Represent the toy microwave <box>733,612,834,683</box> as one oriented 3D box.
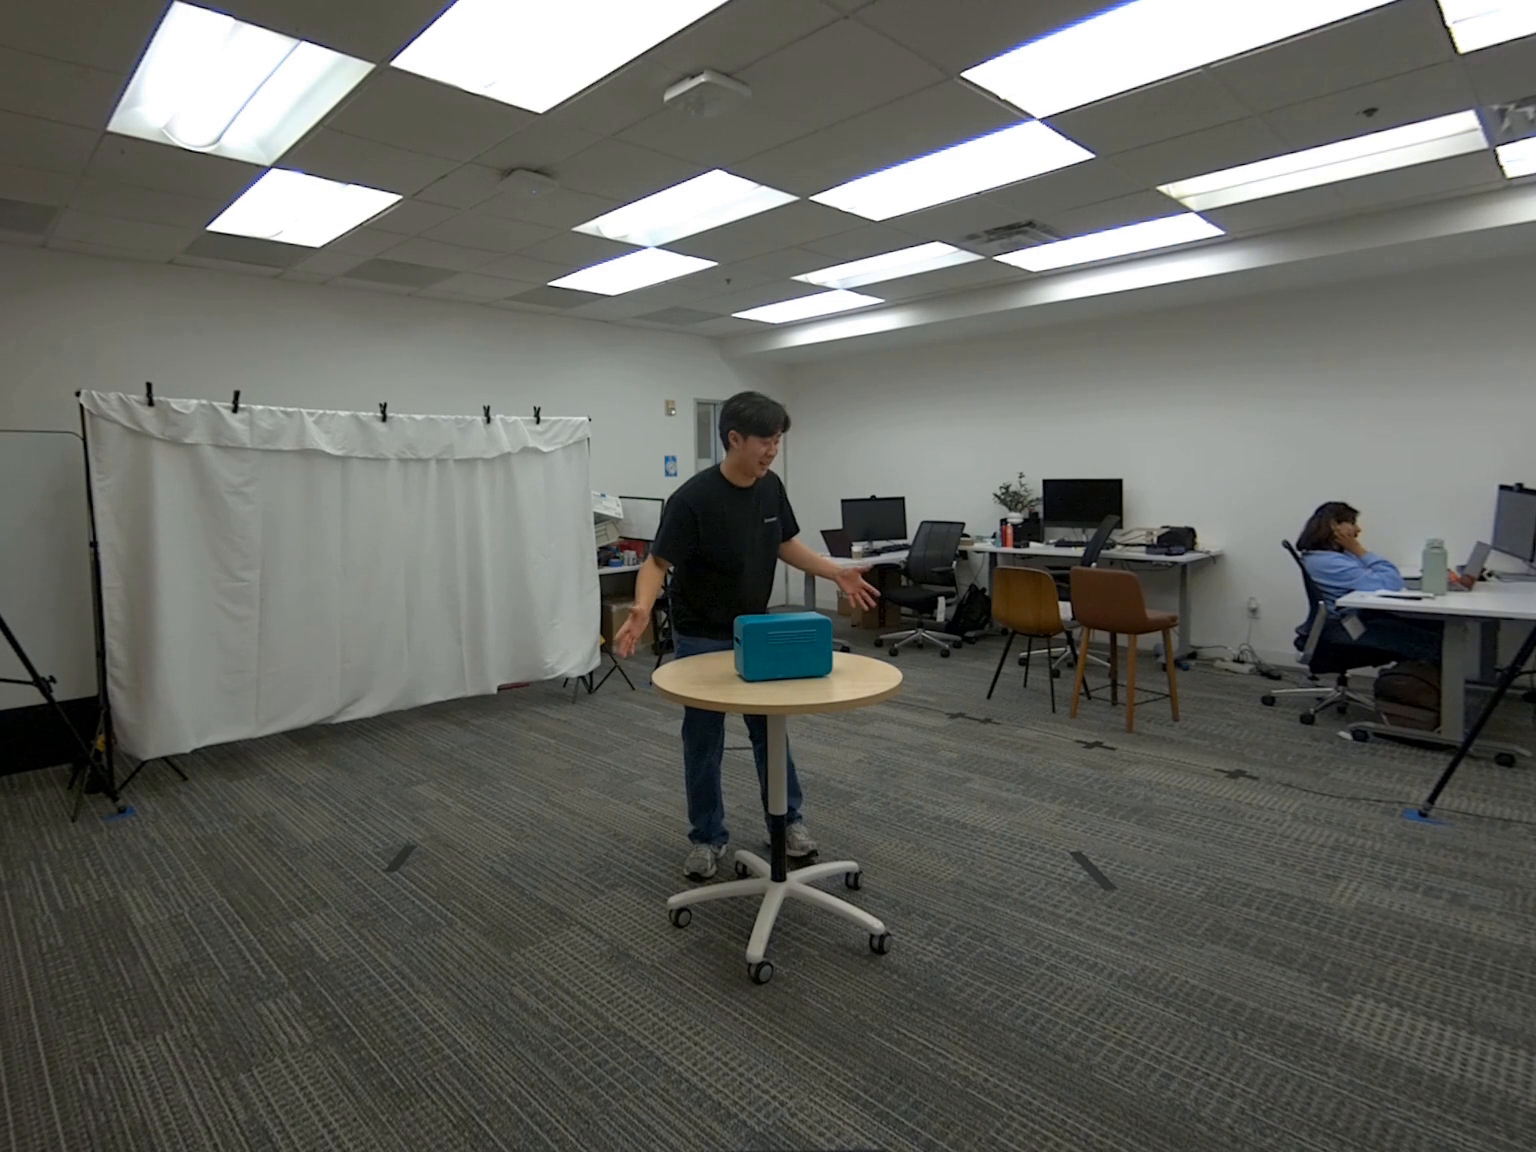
[{"bbox_3d":[0.048,0.214,2.592,0.283,0.184,0.154,-2,3,-13],"label":"toy microwave"}]
